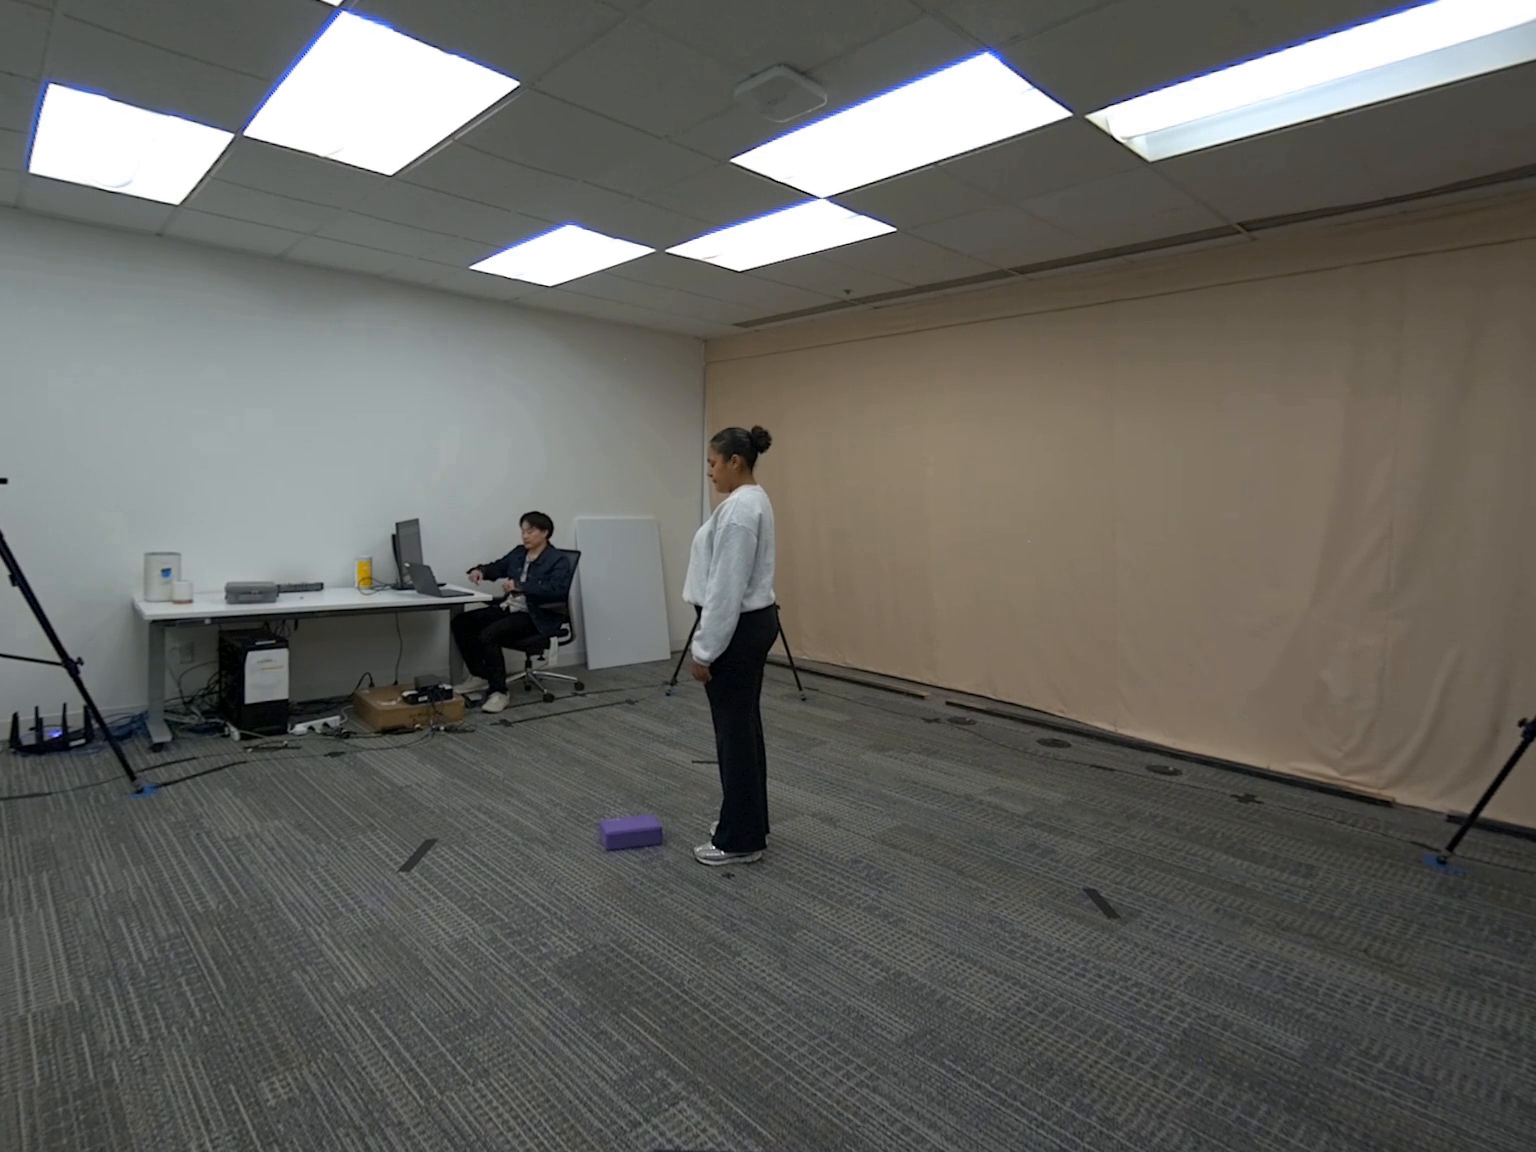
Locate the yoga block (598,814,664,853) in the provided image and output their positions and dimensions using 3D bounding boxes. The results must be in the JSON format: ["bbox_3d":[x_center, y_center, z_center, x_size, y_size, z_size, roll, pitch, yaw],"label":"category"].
[{"bbox_3d":[-0.558,1.023,3.392,0.226,0.076,0.152,-2,6,-22],"label":"yoga block"}]
